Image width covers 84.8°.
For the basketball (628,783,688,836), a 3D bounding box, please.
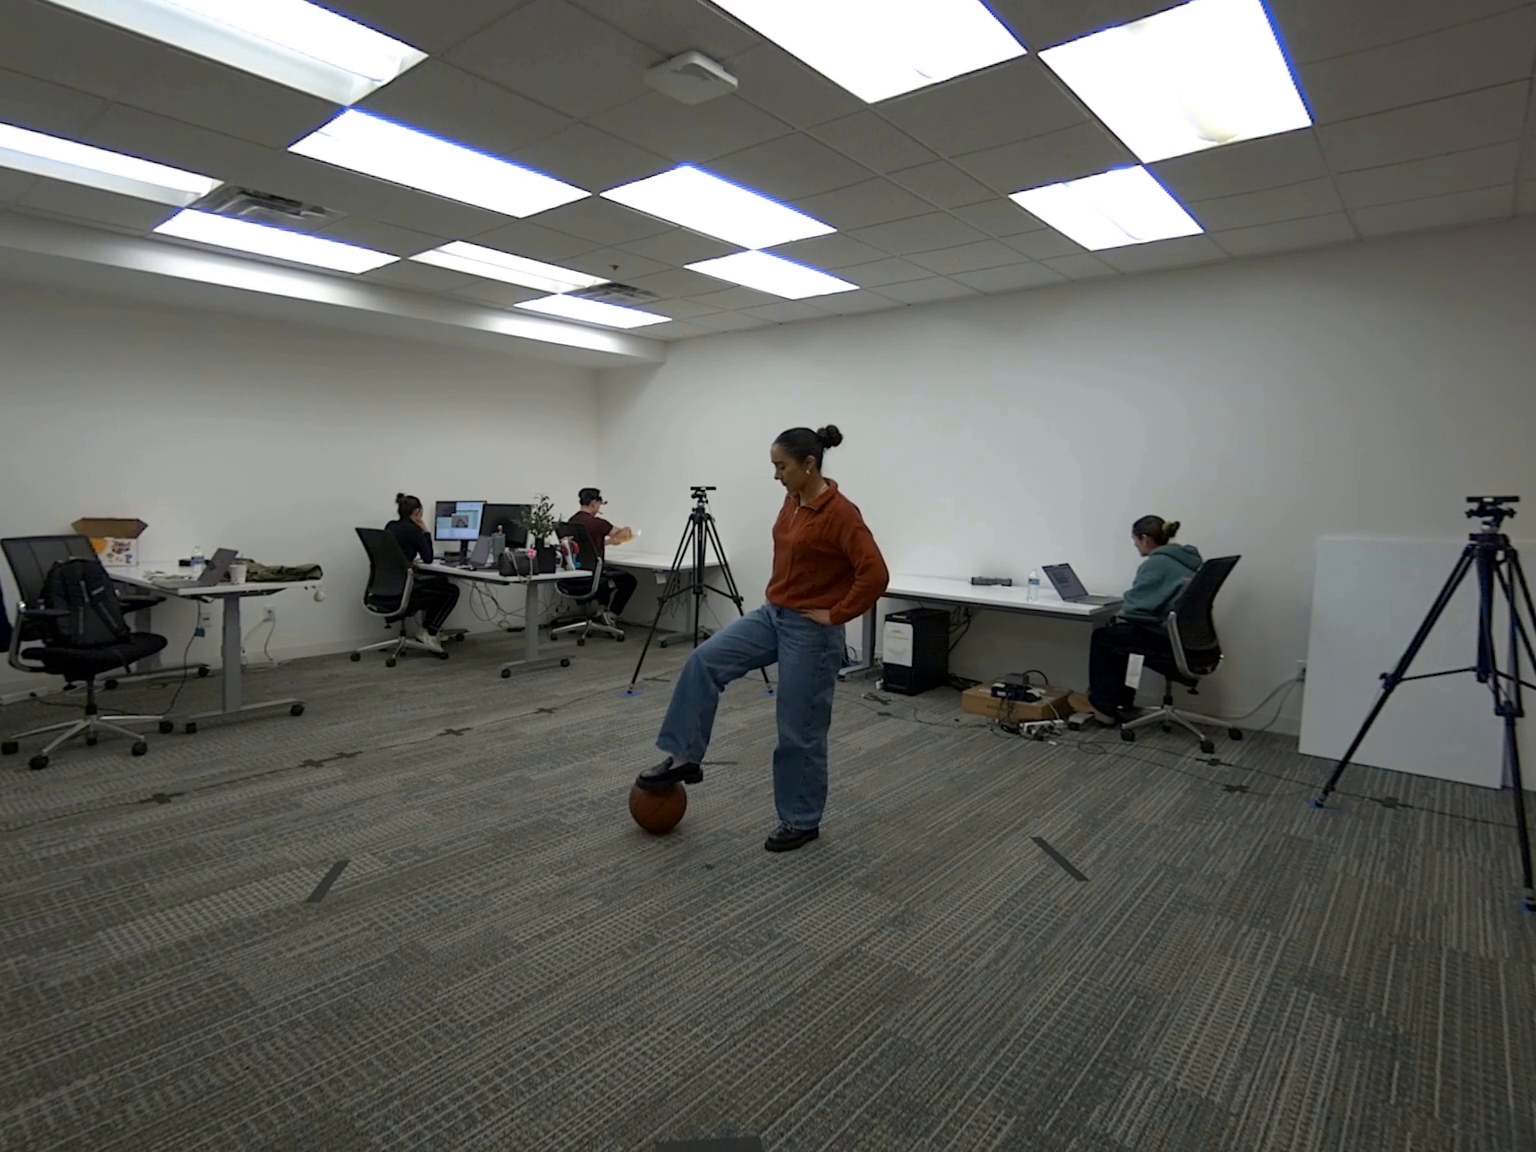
[{"bbox_3d":[-0.456,0.910,3.451,0.235,0.235,0.237,1,4,-2],"label":"basketball"}]
